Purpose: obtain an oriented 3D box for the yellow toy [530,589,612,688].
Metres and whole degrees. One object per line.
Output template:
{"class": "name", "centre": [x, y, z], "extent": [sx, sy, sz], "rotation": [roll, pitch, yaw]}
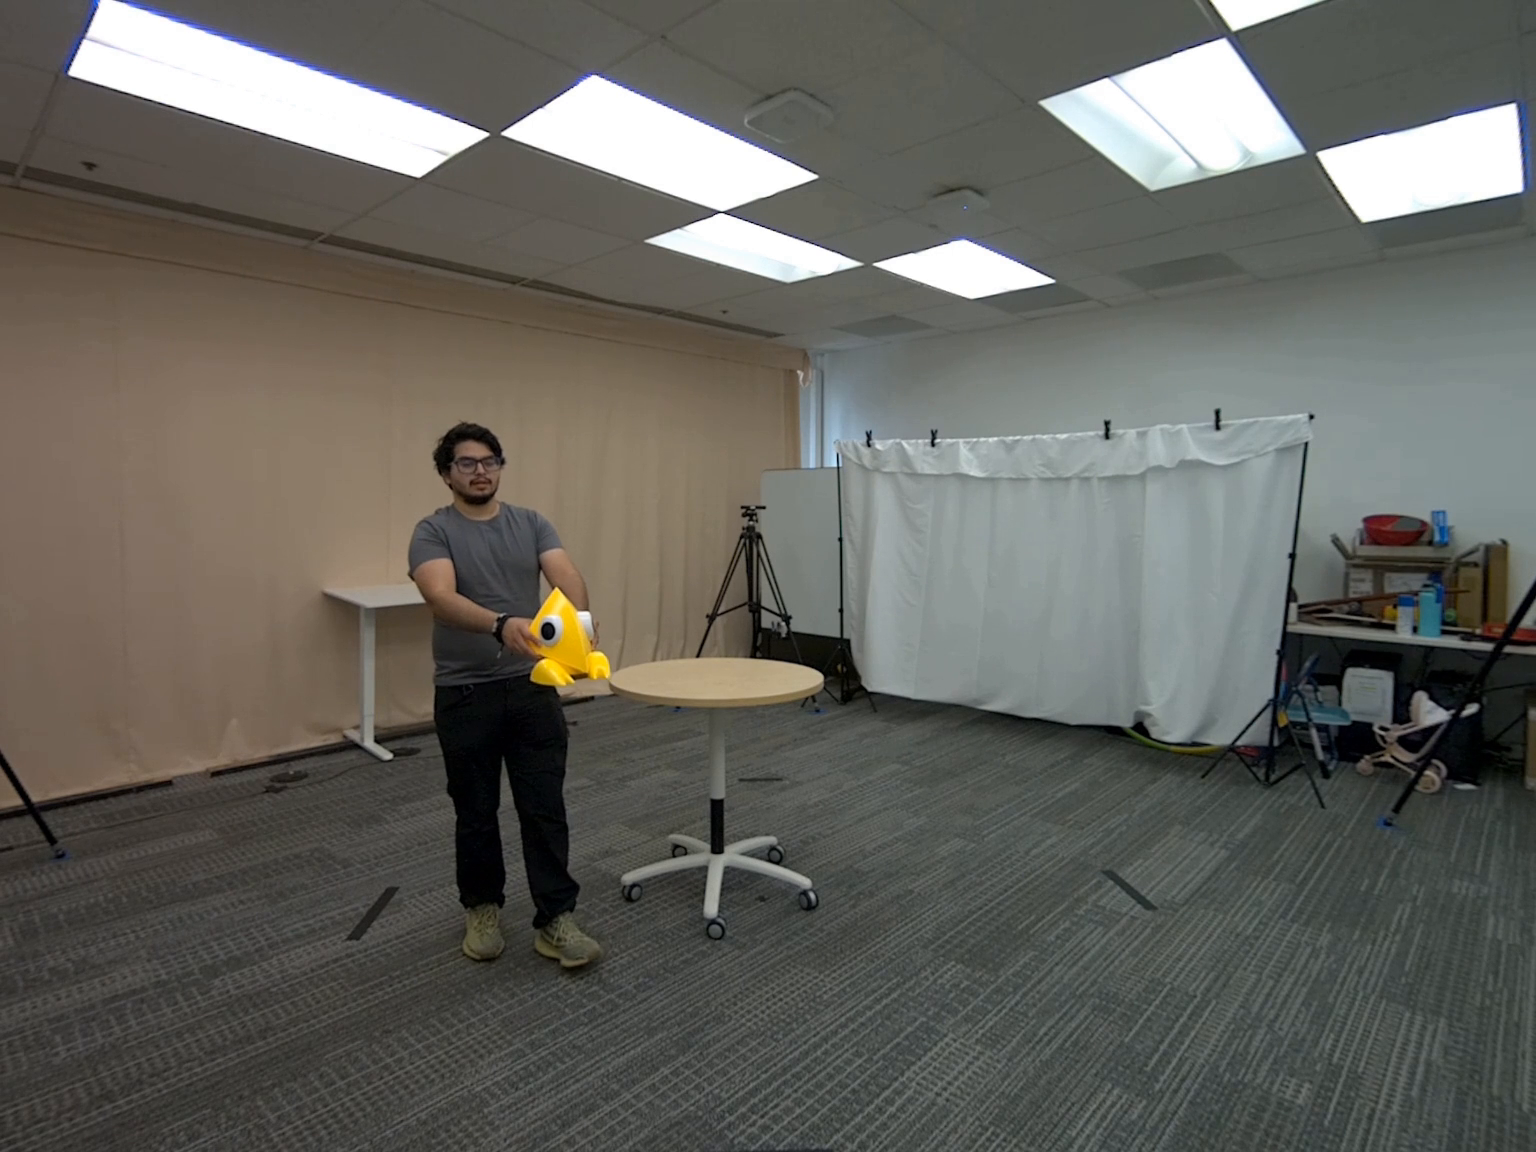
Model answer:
{"class": "yellow toy", "centre": [-0.517, 0.148, 2.191], "extent": [0.199, 0.230, 0.199], "rotation": [-4, 5, -40]}
